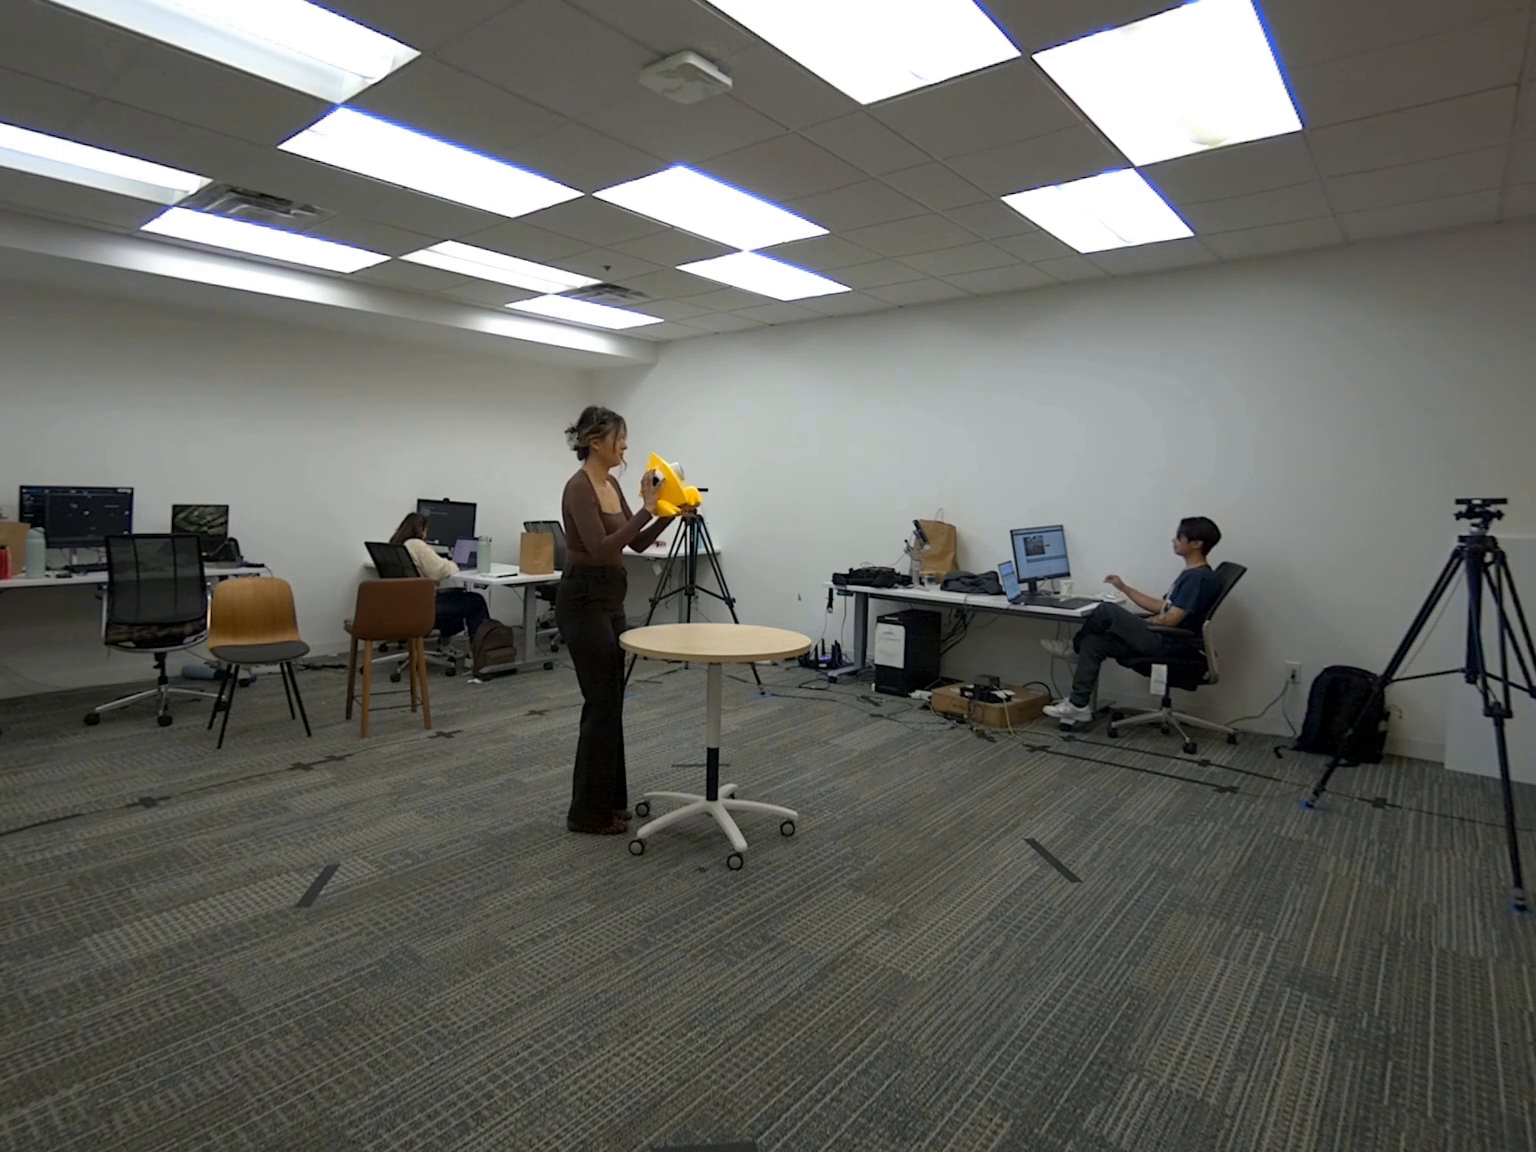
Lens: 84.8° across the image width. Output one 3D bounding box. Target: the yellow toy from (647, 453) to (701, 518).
[{"bbox_3d":[-0.406,-0.379,3.339,0.202,0.226,0.199,-27,20,-30],"label":"yellow toy"}]
